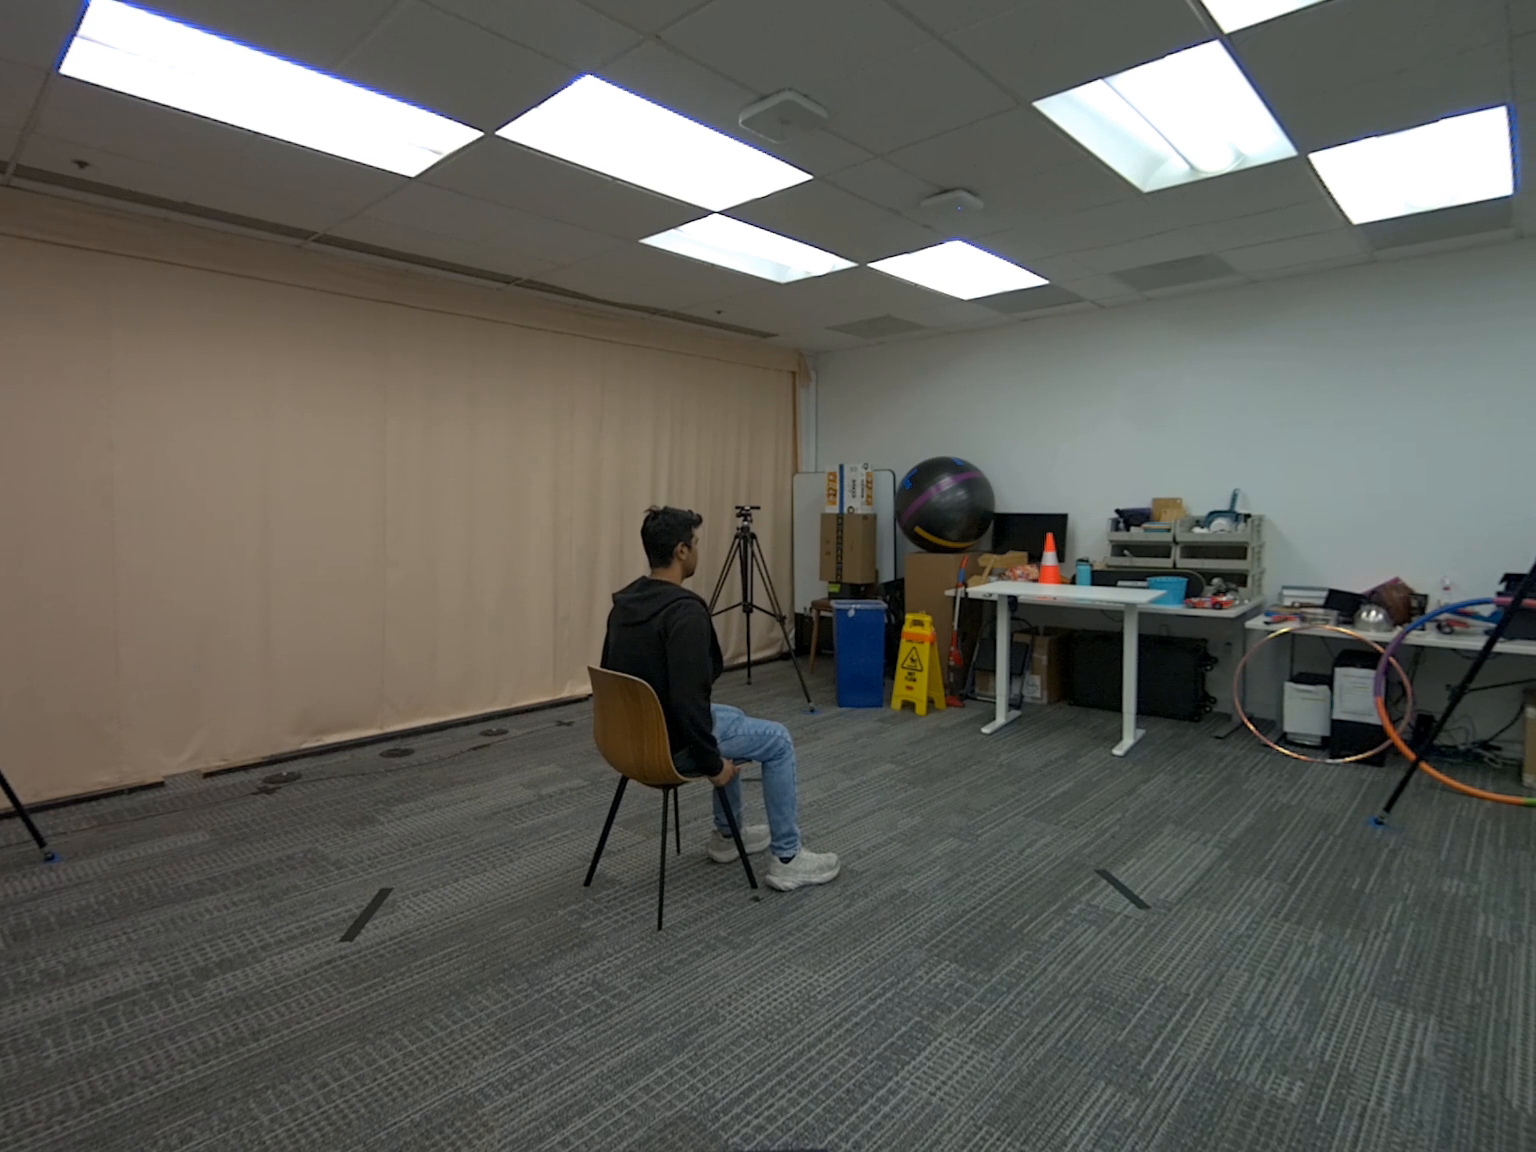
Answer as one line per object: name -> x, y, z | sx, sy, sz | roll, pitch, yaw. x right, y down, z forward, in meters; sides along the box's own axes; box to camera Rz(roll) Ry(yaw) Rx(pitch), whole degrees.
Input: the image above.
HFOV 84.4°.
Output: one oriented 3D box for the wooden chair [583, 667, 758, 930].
wooden chair -> -0.351, 0.714, 3.062 | 0.508, 0.874, 0.494 | -8, 7, -43
